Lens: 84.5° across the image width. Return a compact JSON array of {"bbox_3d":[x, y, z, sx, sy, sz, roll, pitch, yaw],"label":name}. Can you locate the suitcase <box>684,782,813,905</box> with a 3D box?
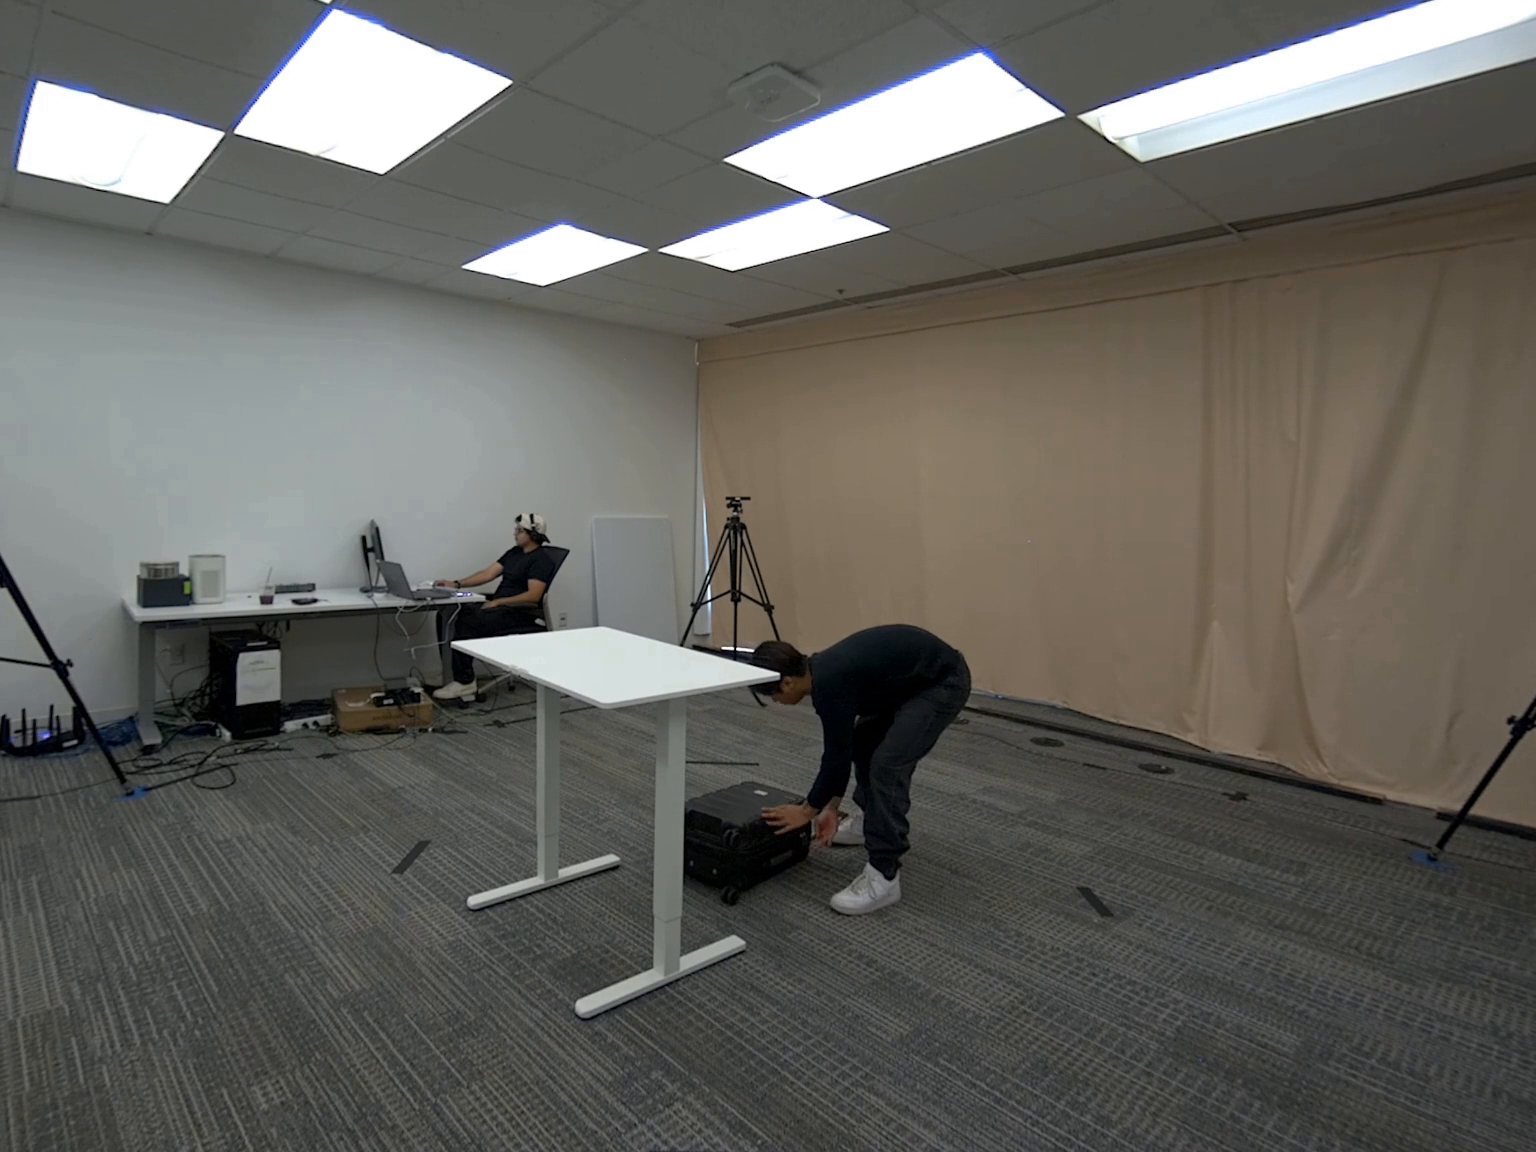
[{"bbox_3d":[0.012,0.957,3.337,0.393,0.256,0.958,2,5,35],"label":"suitcase"}]
